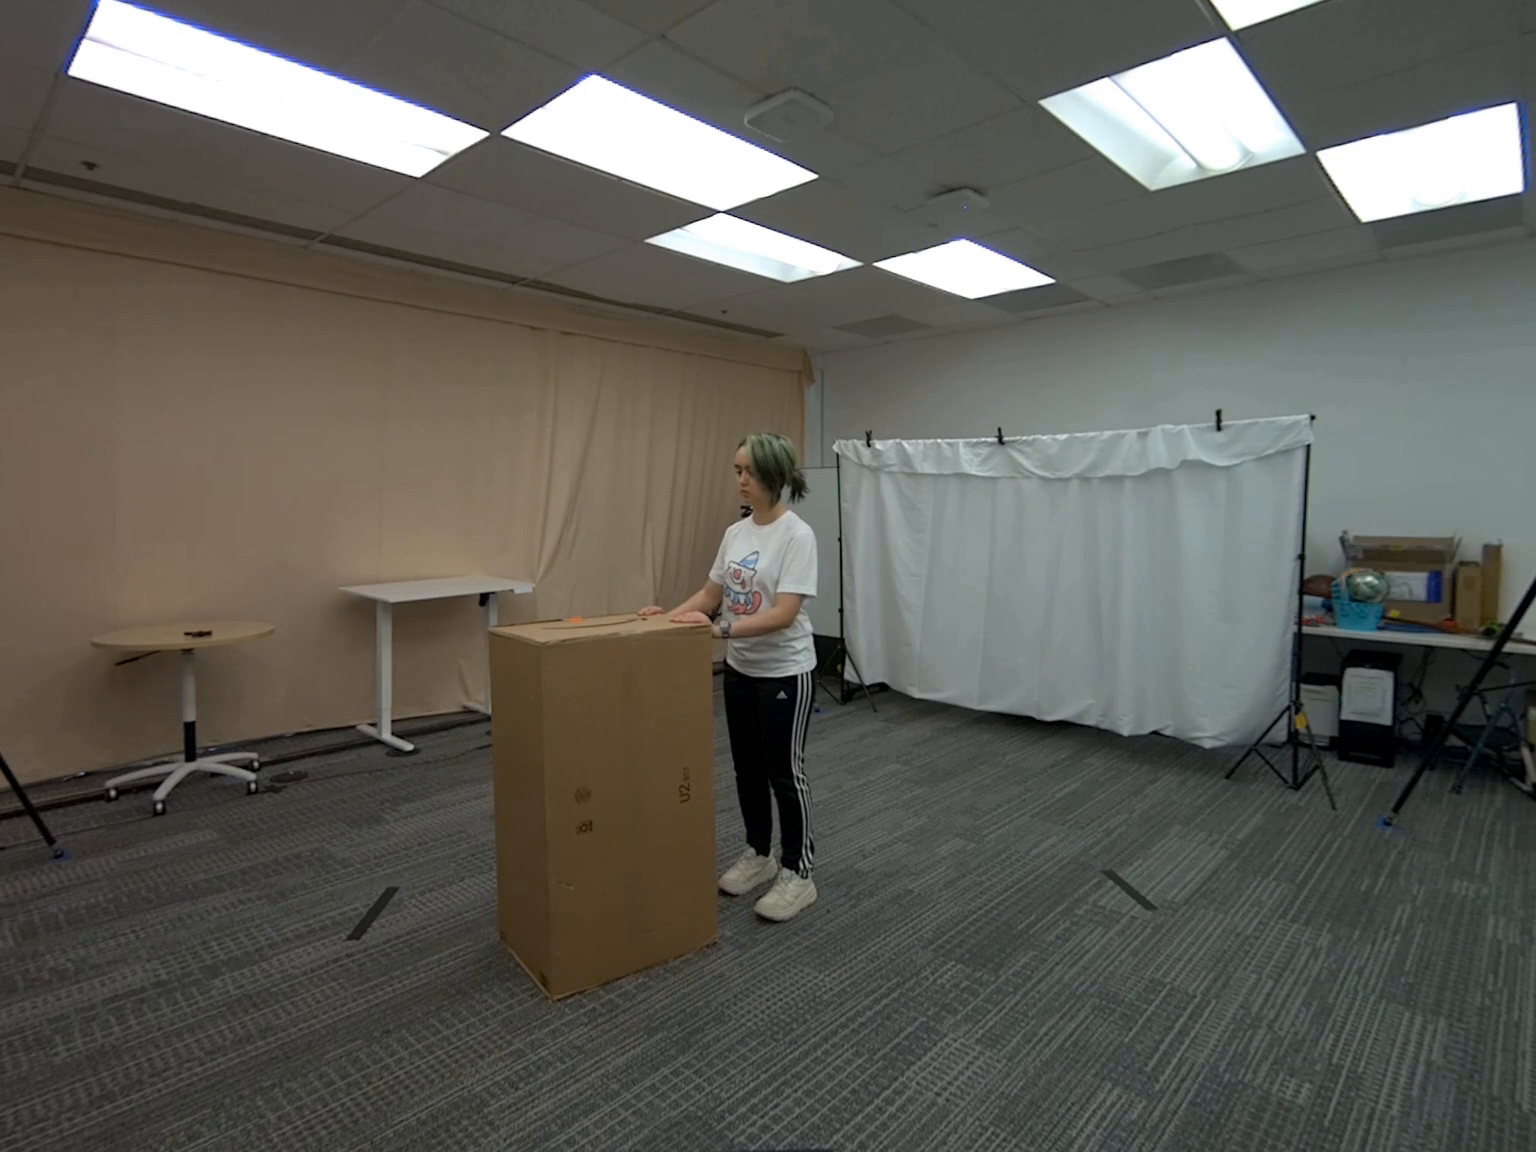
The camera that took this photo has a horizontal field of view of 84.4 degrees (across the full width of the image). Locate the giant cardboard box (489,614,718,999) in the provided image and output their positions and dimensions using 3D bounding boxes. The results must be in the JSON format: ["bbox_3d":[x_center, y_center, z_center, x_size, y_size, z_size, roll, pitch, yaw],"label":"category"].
[{"bbox_3d":[-0.524,0.666,2.669,0.567,1.025,0.461,-3,4,-37],"label":"giant cardboard box"}]
